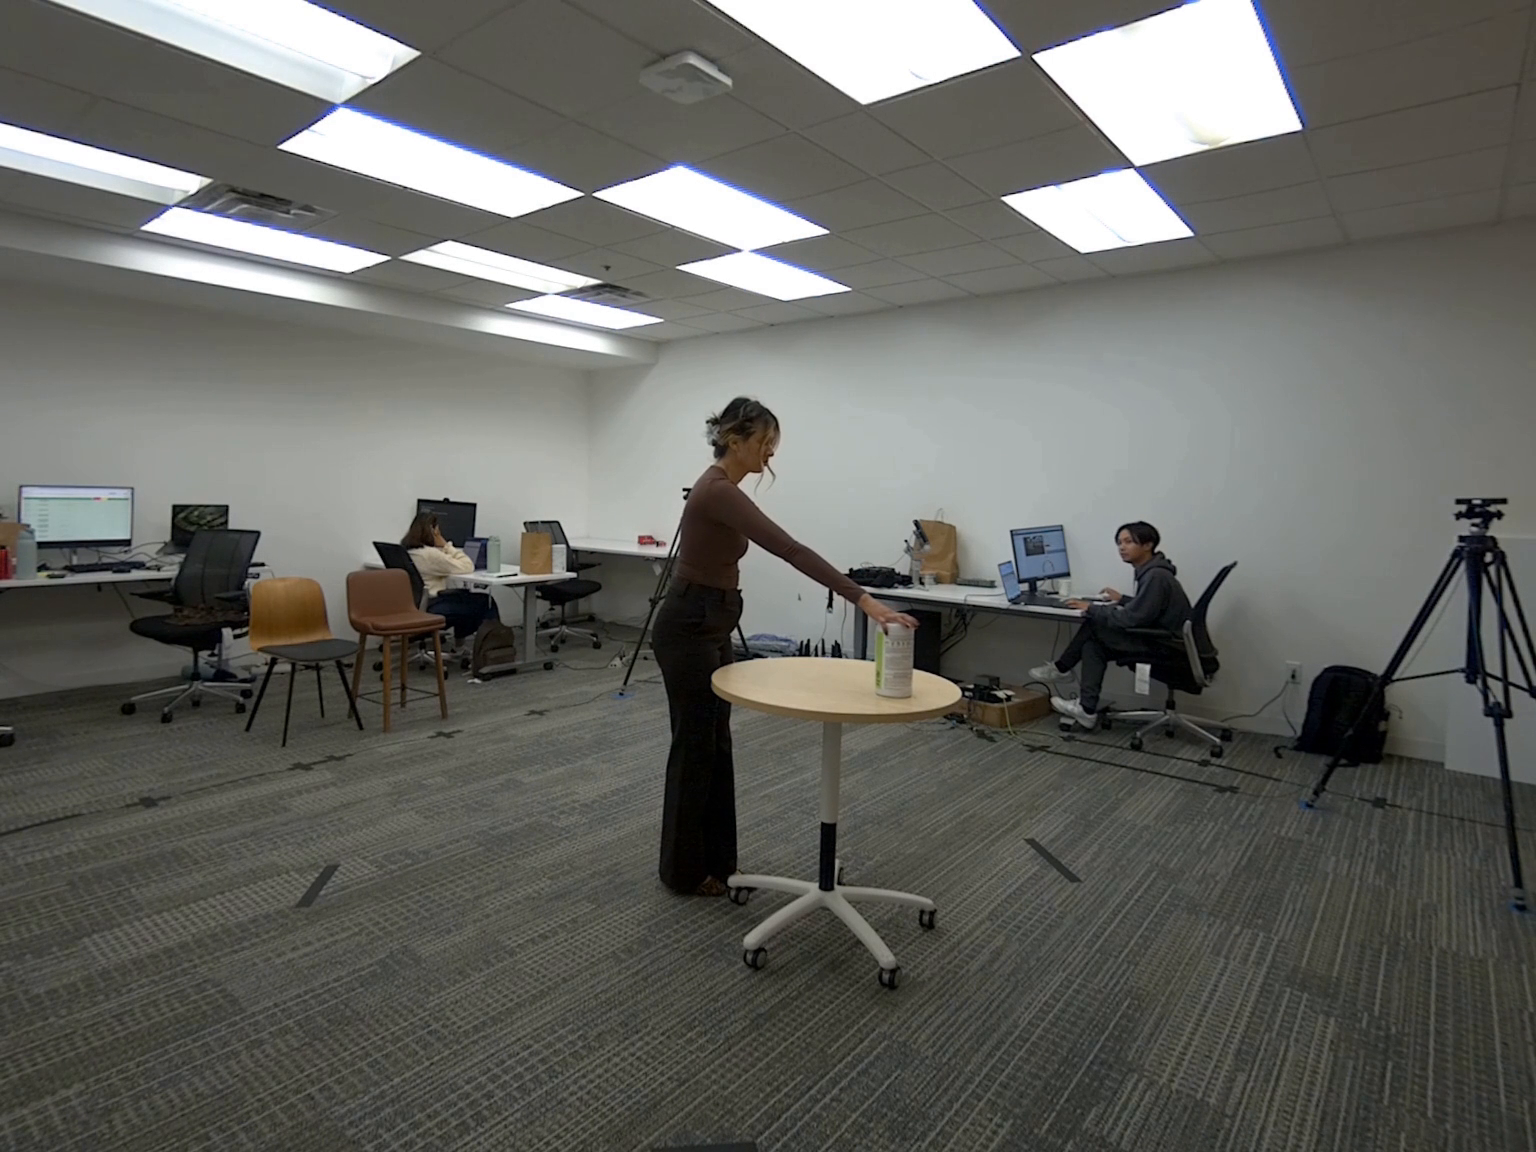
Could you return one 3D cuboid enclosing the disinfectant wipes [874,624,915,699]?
[{"bbox_3d":[0.366,0.239,2.505,0.118,0.217,0.118,-1,2,-2],"label":"disinfectant wipes"}]
